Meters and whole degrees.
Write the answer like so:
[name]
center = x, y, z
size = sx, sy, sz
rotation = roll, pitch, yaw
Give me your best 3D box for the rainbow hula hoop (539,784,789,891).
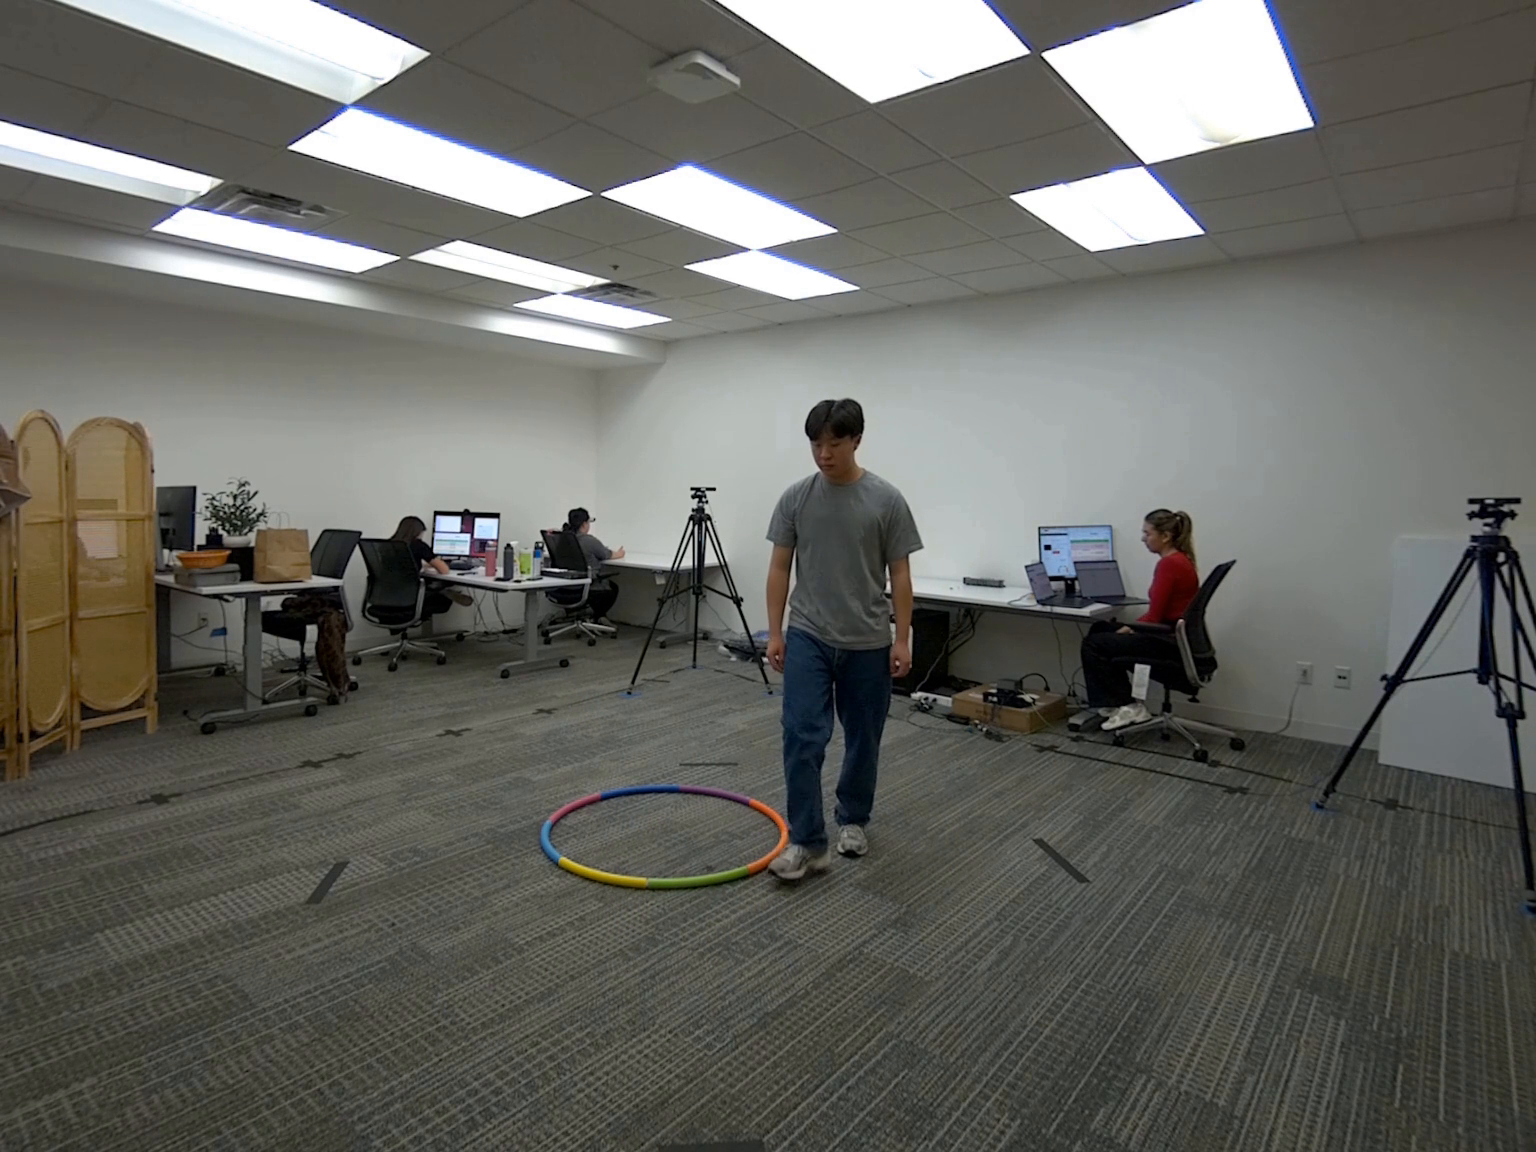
[rainbow hula hoop]
center = -0.418, 1.002, 3.401
size = 0.978, 0.035, 0.984
rotation = 1, 6, -2
